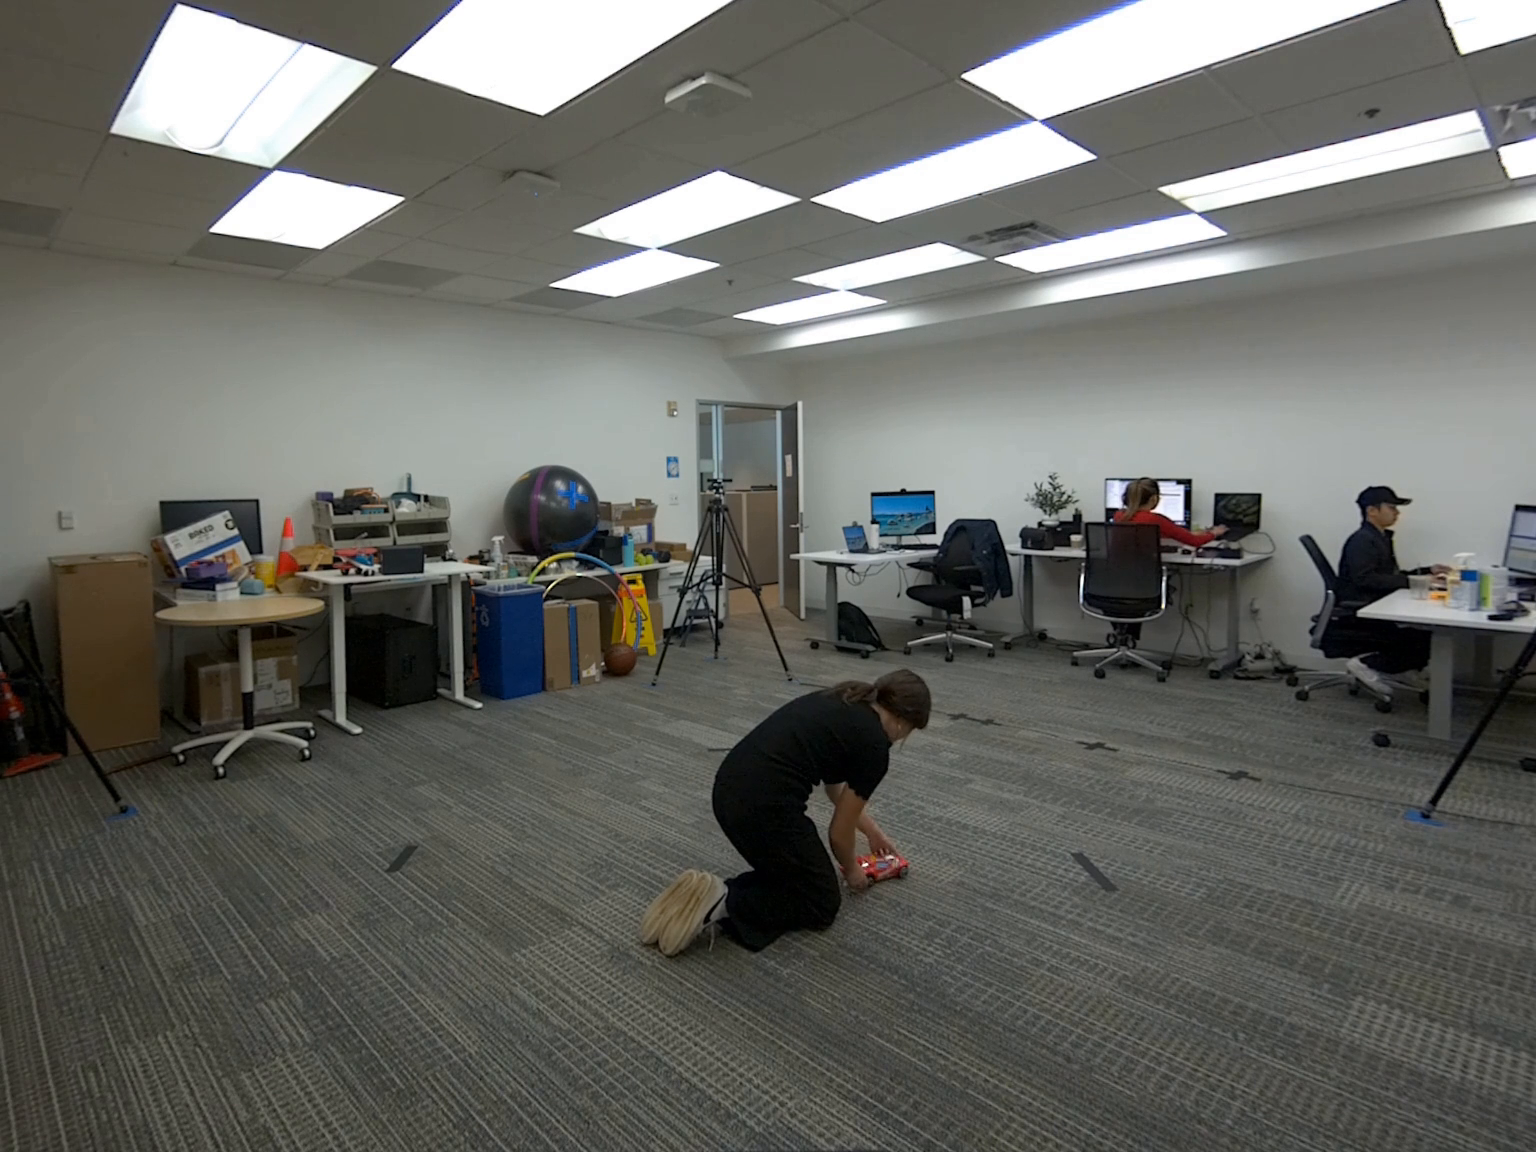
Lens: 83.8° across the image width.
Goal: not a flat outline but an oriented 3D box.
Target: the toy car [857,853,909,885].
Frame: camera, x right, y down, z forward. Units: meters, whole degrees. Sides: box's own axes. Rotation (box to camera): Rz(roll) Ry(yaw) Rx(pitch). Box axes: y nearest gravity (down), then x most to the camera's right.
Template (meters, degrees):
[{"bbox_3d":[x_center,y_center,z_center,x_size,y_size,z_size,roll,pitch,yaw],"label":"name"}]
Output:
[{"bbox_3d":[0.364,1.025,2.975,0.248,0.083,0.133,9,1,-24],"label":"toy car"}]
